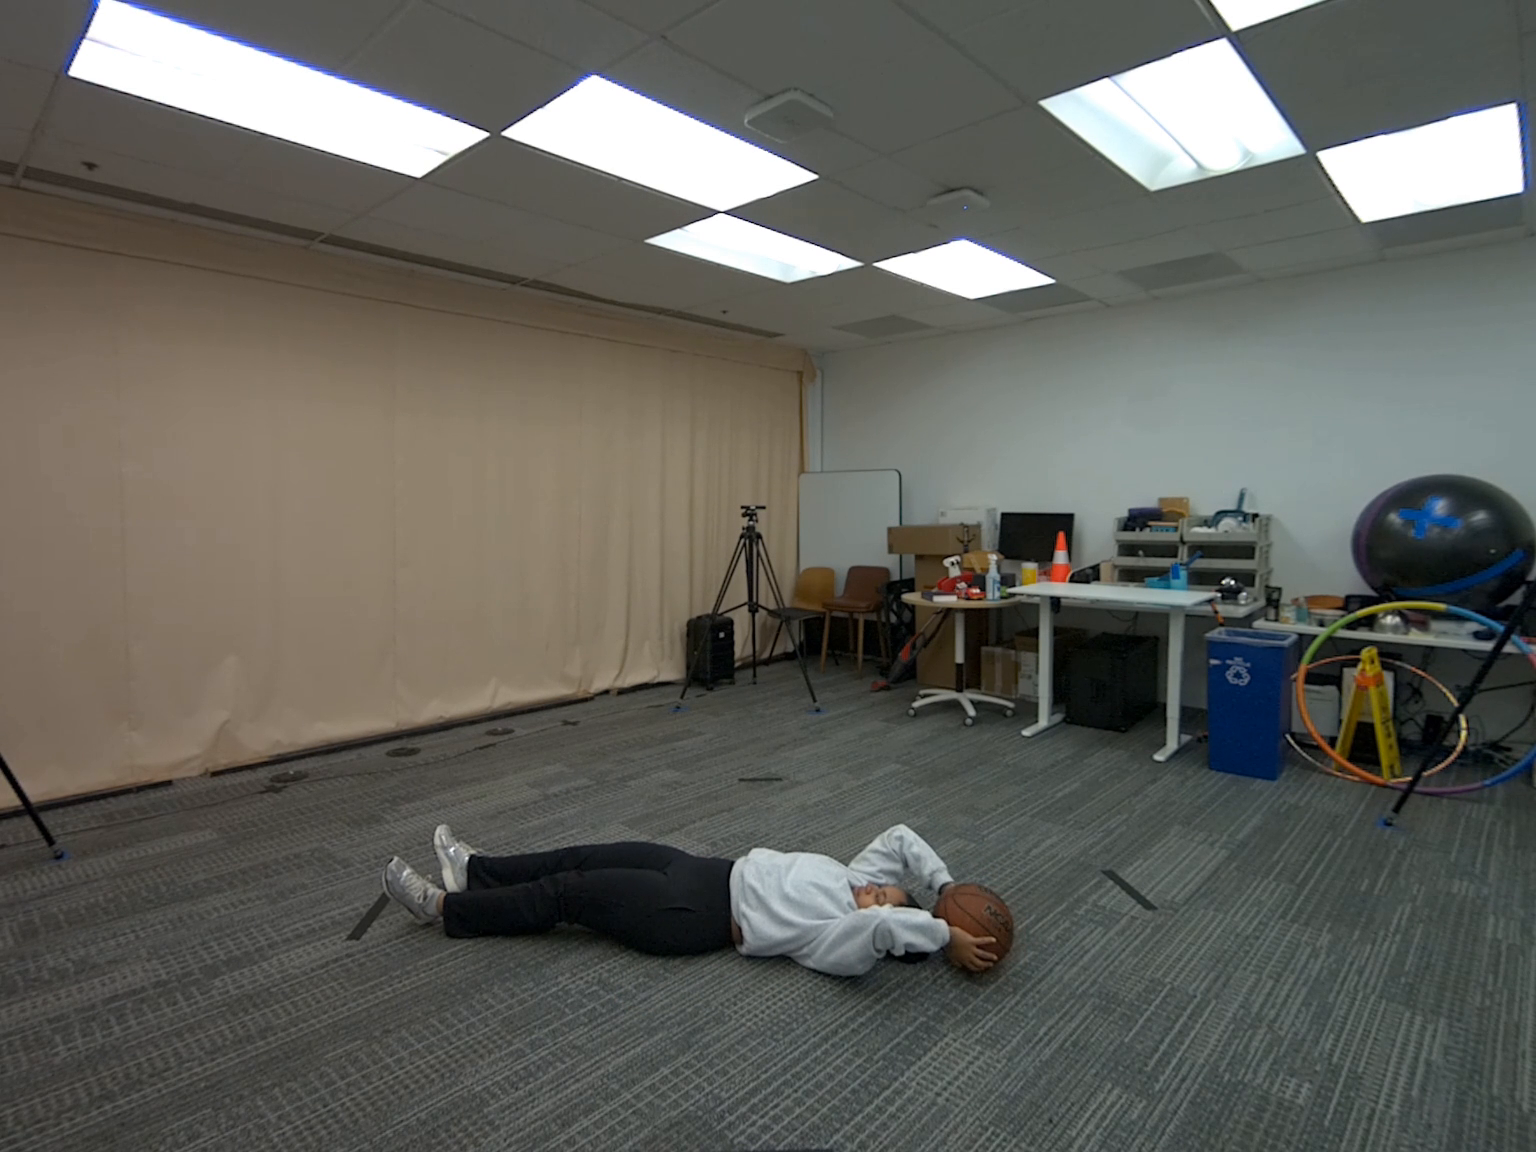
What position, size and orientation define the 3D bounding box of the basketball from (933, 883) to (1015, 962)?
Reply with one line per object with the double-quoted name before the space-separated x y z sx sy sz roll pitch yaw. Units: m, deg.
"basketball" 0.628 1.057 2.546 0.236 0.236 0.236 2 0 -2
